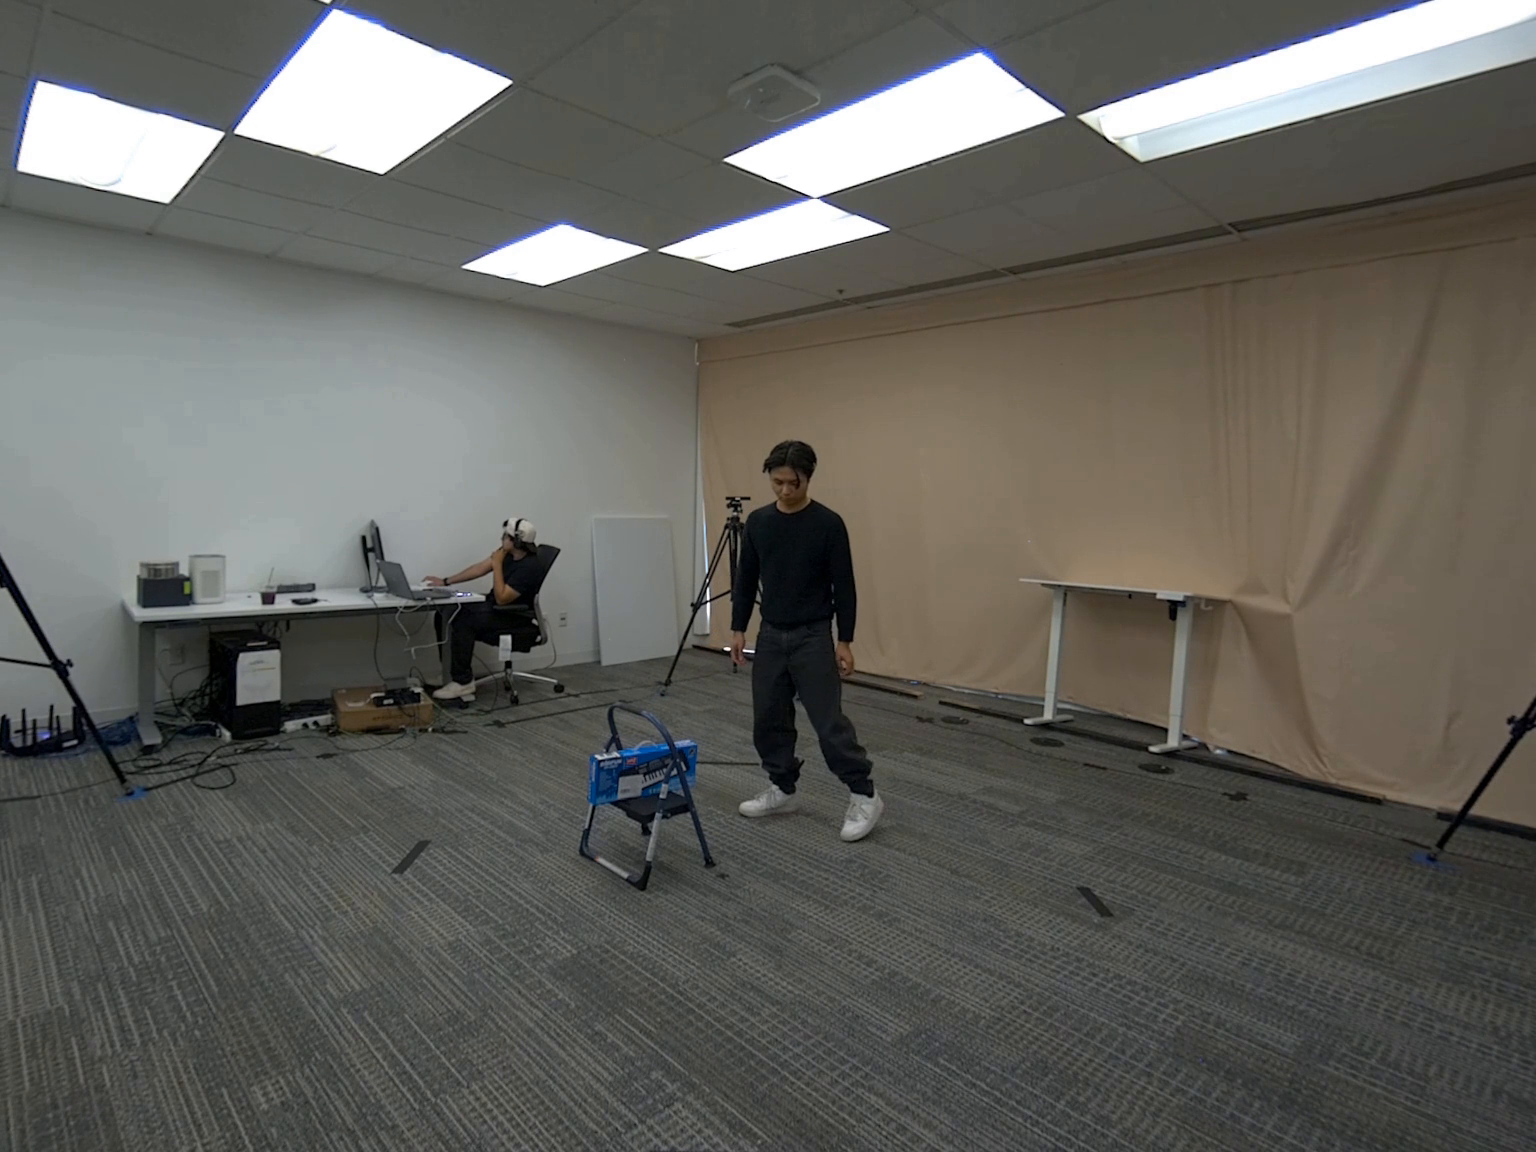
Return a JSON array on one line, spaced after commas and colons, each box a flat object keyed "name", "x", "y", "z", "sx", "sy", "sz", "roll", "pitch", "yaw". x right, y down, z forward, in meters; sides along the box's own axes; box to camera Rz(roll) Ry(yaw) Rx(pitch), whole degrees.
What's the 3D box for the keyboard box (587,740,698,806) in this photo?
[{"name": "keyboard box", "x": -0.473, "y": 0.743, "z": 3.185, "sx": 0.427, "sy": 0.175, "sz": 0.061, "roll": -1, "pitch": 8, "yaw": -38}]
